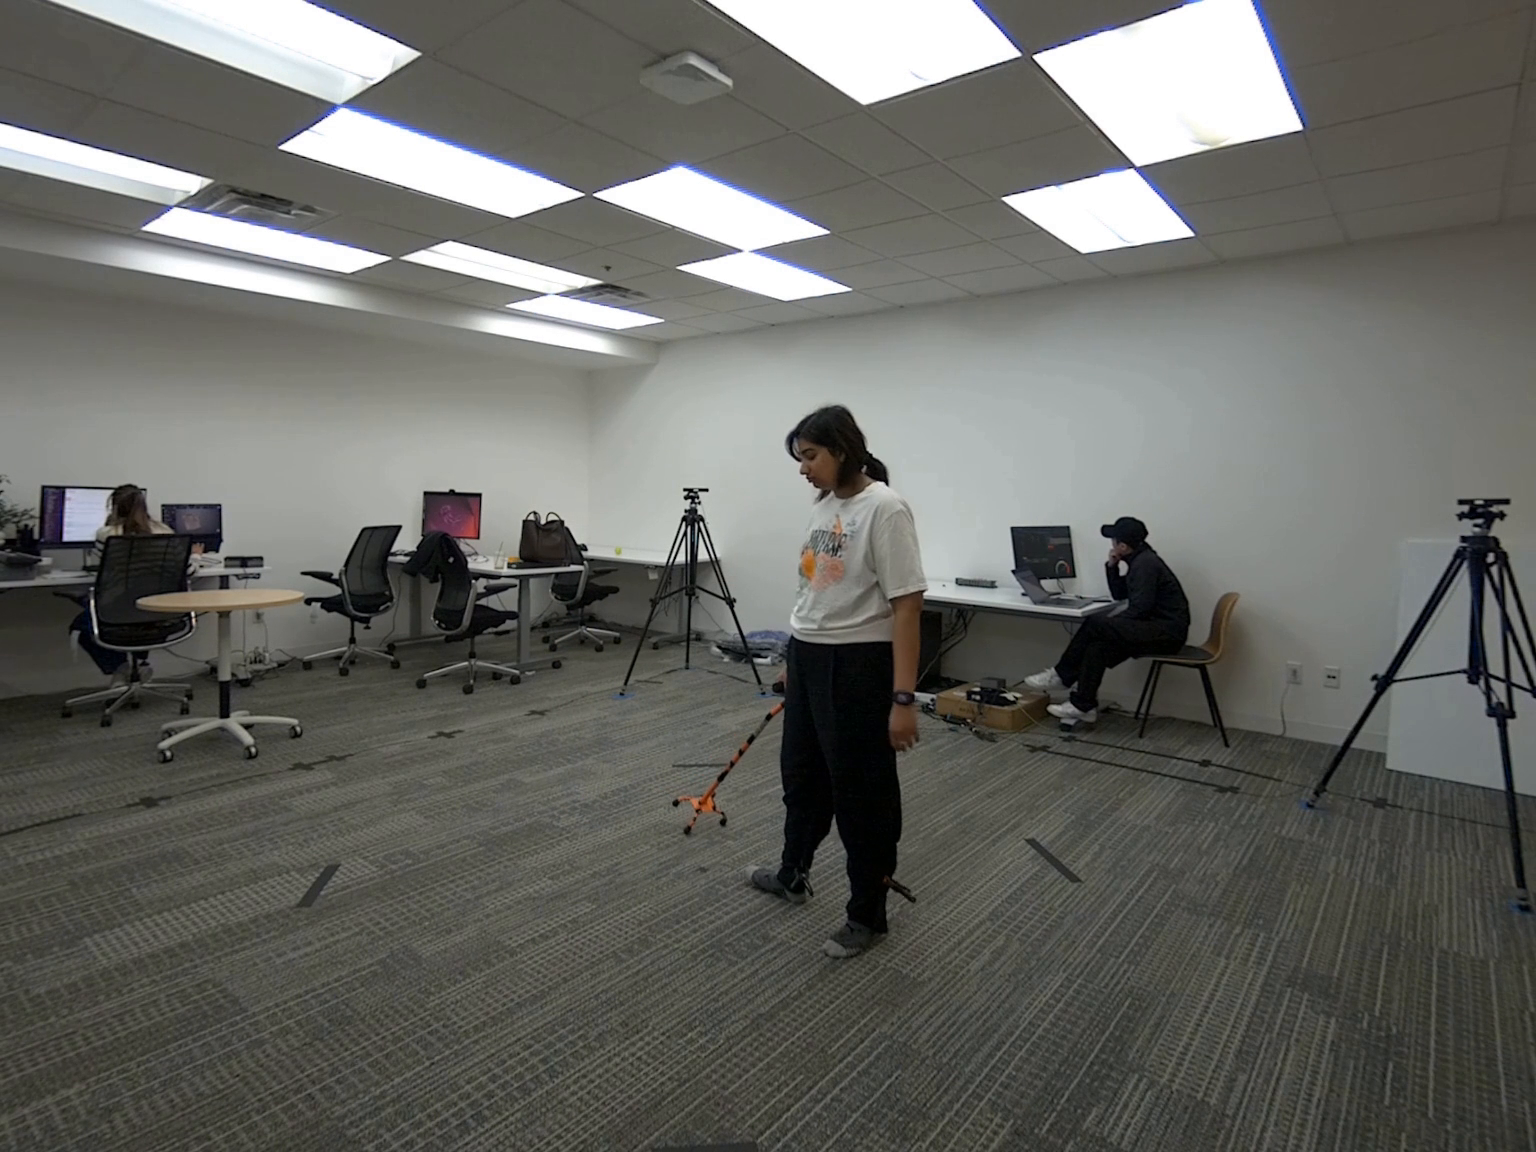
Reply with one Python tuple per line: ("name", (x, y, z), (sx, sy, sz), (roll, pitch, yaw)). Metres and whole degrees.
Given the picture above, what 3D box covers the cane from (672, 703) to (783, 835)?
("cane", (-0.106, 0.676, 3.244), (0.200, 0.157, 0.900), (-4, -40, -38))
